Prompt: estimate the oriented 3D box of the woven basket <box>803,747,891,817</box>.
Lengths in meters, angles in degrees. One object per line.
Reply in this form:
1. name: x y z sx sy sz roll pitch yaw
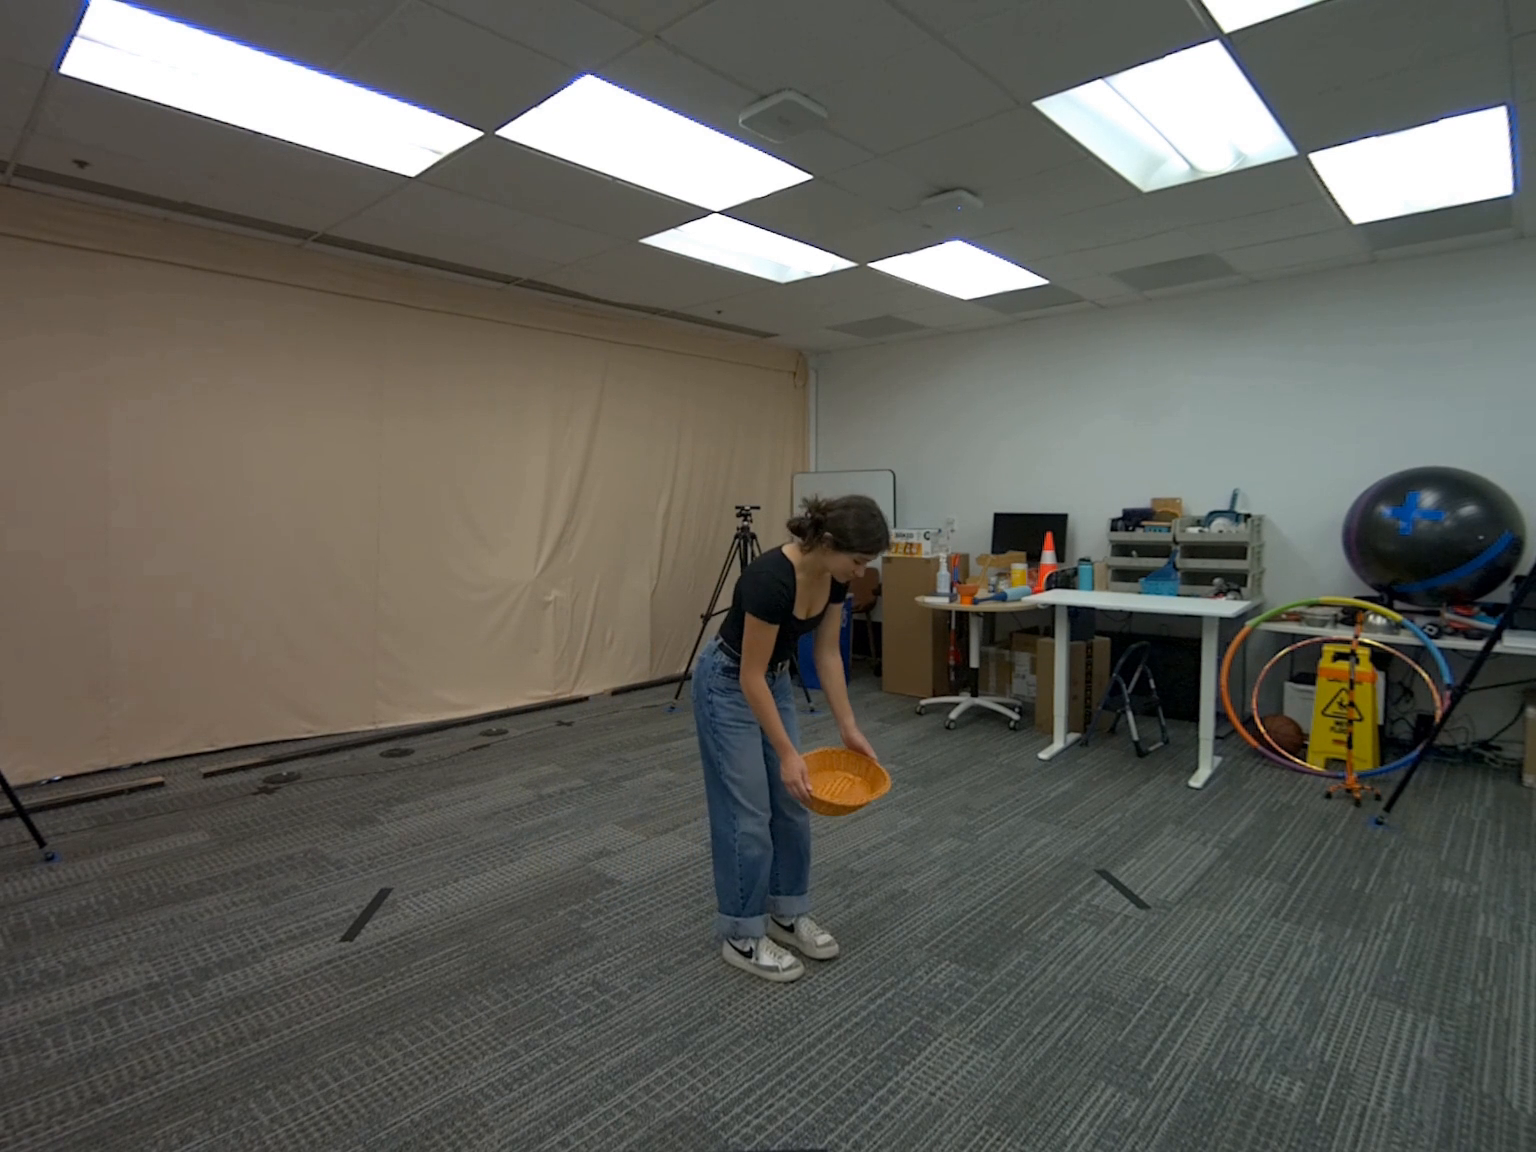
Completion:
1. woven basket: 0.213 0.612 2.429 0.340 0.073 0.262 -2 19 -39
